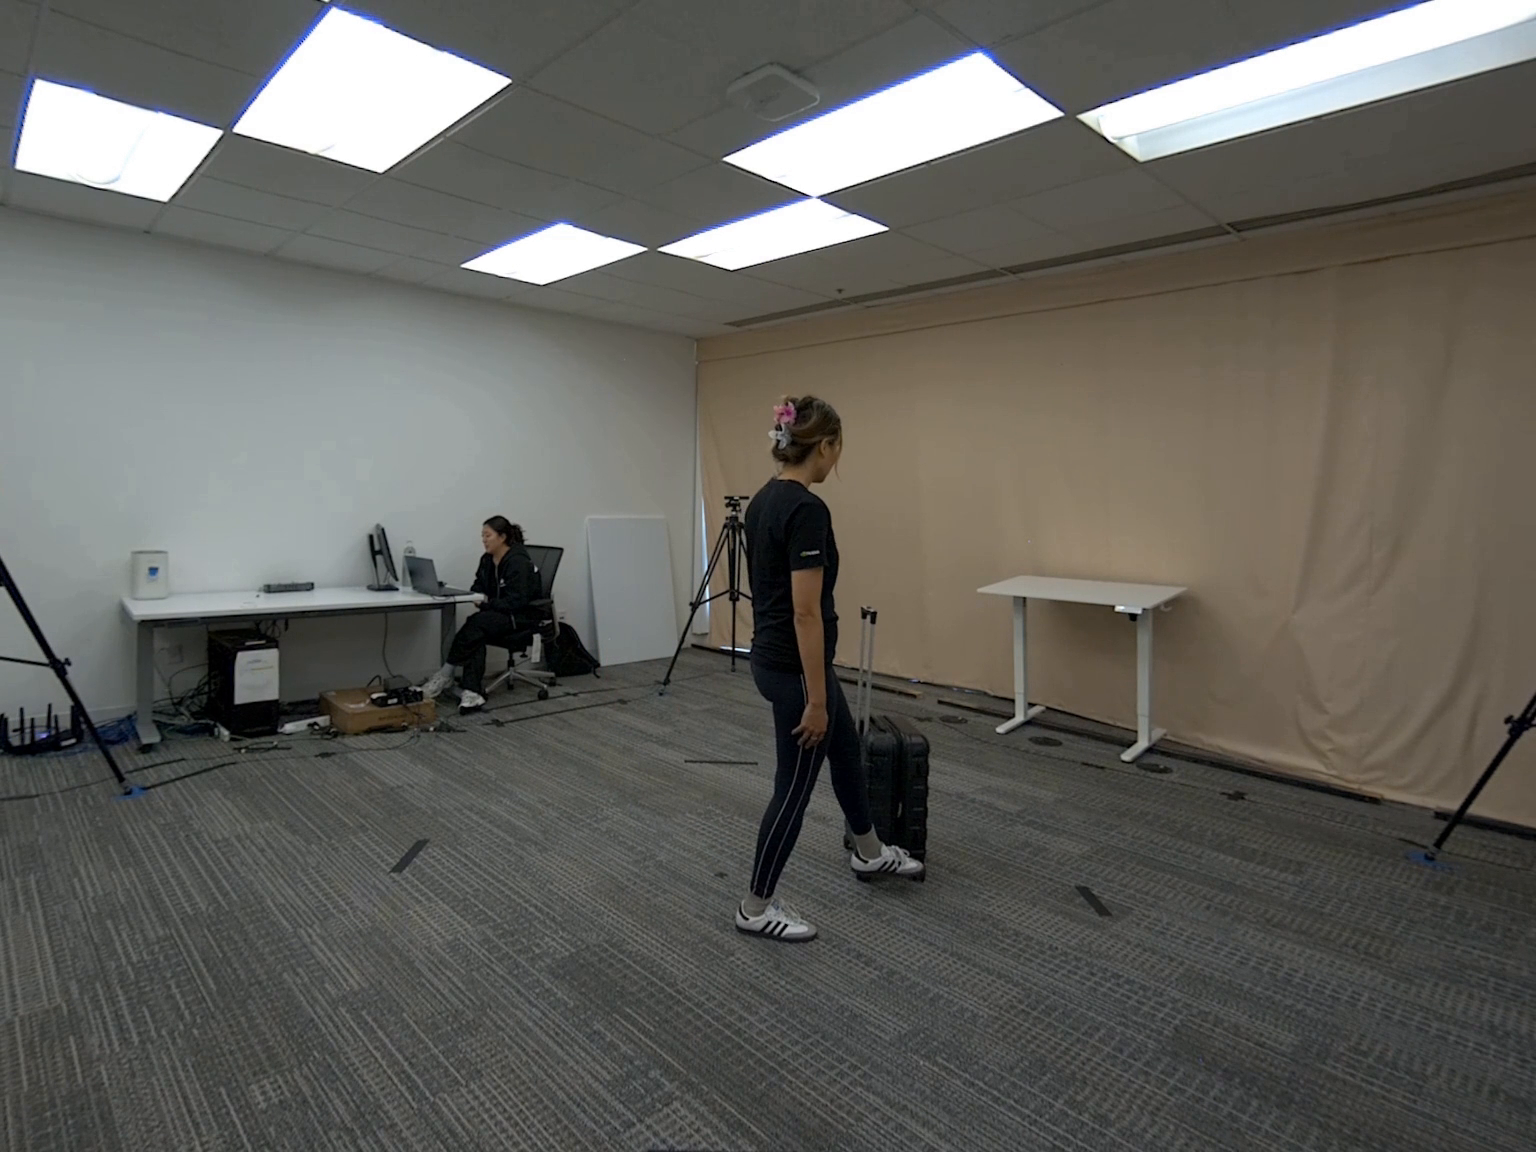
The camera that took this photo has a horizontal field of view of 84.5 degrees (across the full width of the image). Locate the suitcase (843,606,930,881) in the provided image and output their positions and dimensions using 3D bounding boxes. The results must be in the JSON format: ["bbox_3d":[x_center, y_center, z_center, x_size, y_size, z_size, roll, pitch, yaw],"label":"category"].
[{"bbox_3d":[0.458,0.626,3.243,0.256,0.977,0.386,3,2,-6],"label":"suitcase"}]
